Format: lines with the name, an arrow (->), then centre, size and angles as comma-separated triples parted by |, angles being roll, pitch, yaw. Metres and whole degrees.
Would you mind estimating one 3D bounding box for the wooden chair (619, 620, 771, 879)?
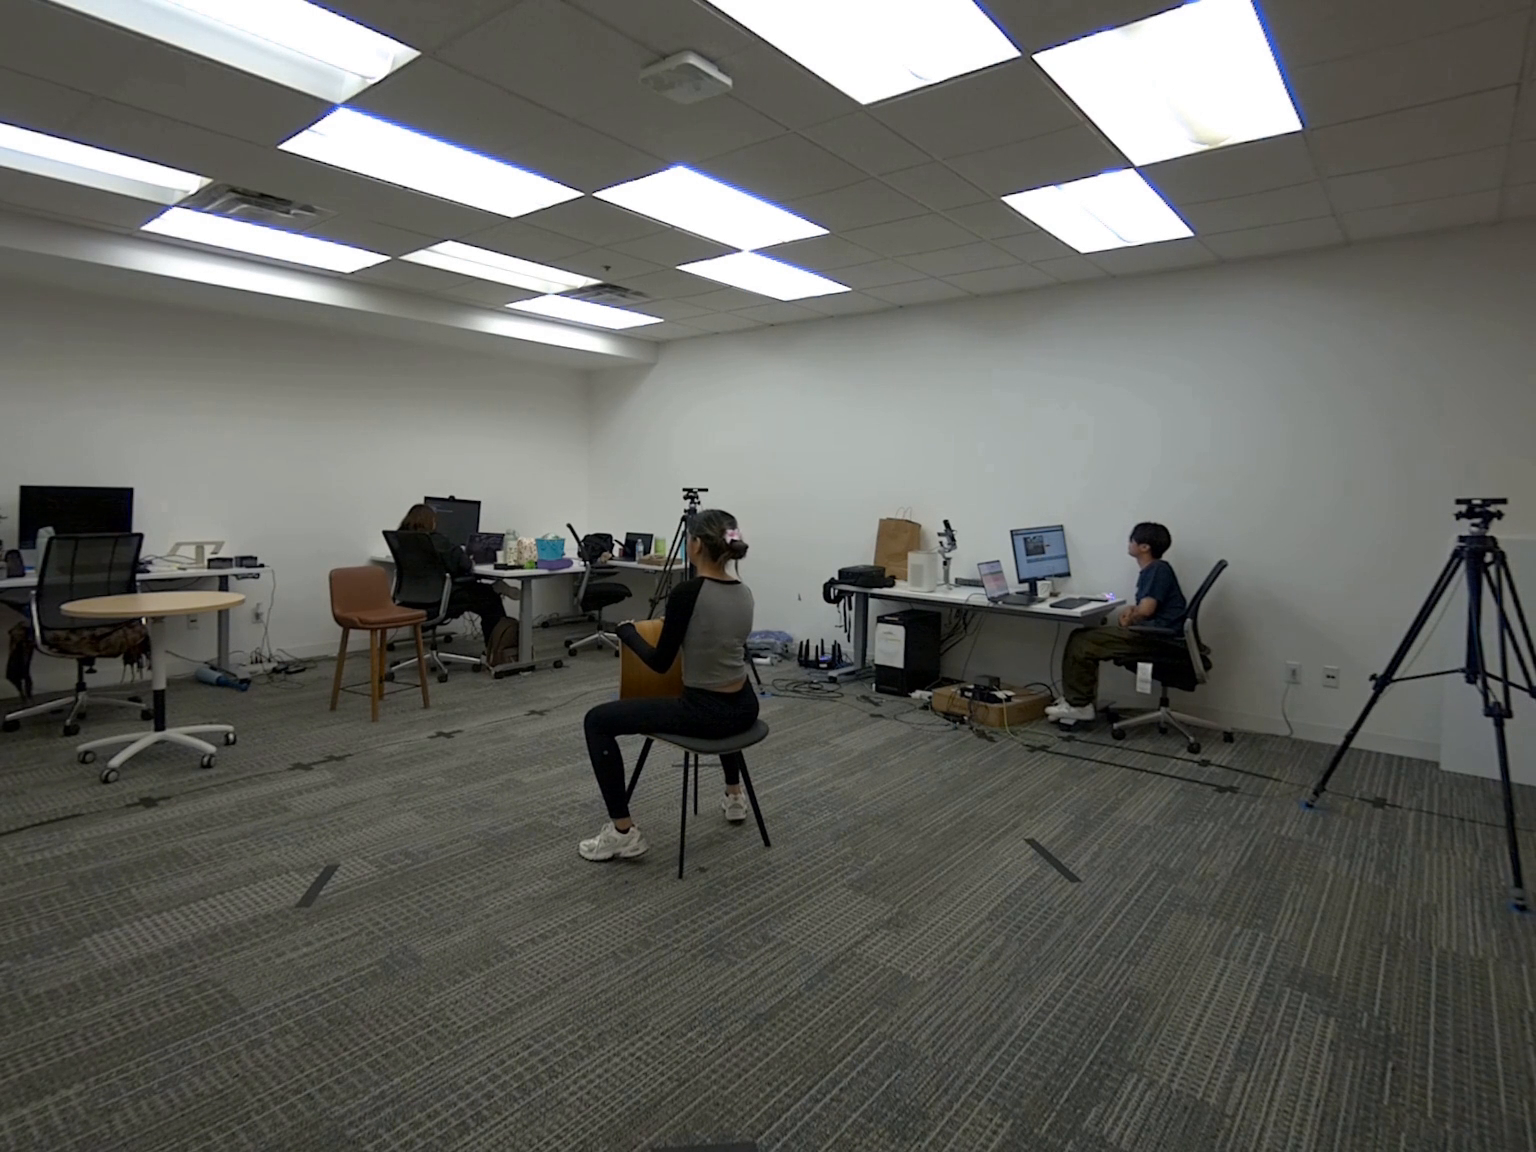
wooden chair -> -0.302, 0.624, 3.306 | 0.463, 0.878, 0.539 | -2, -1, -43
